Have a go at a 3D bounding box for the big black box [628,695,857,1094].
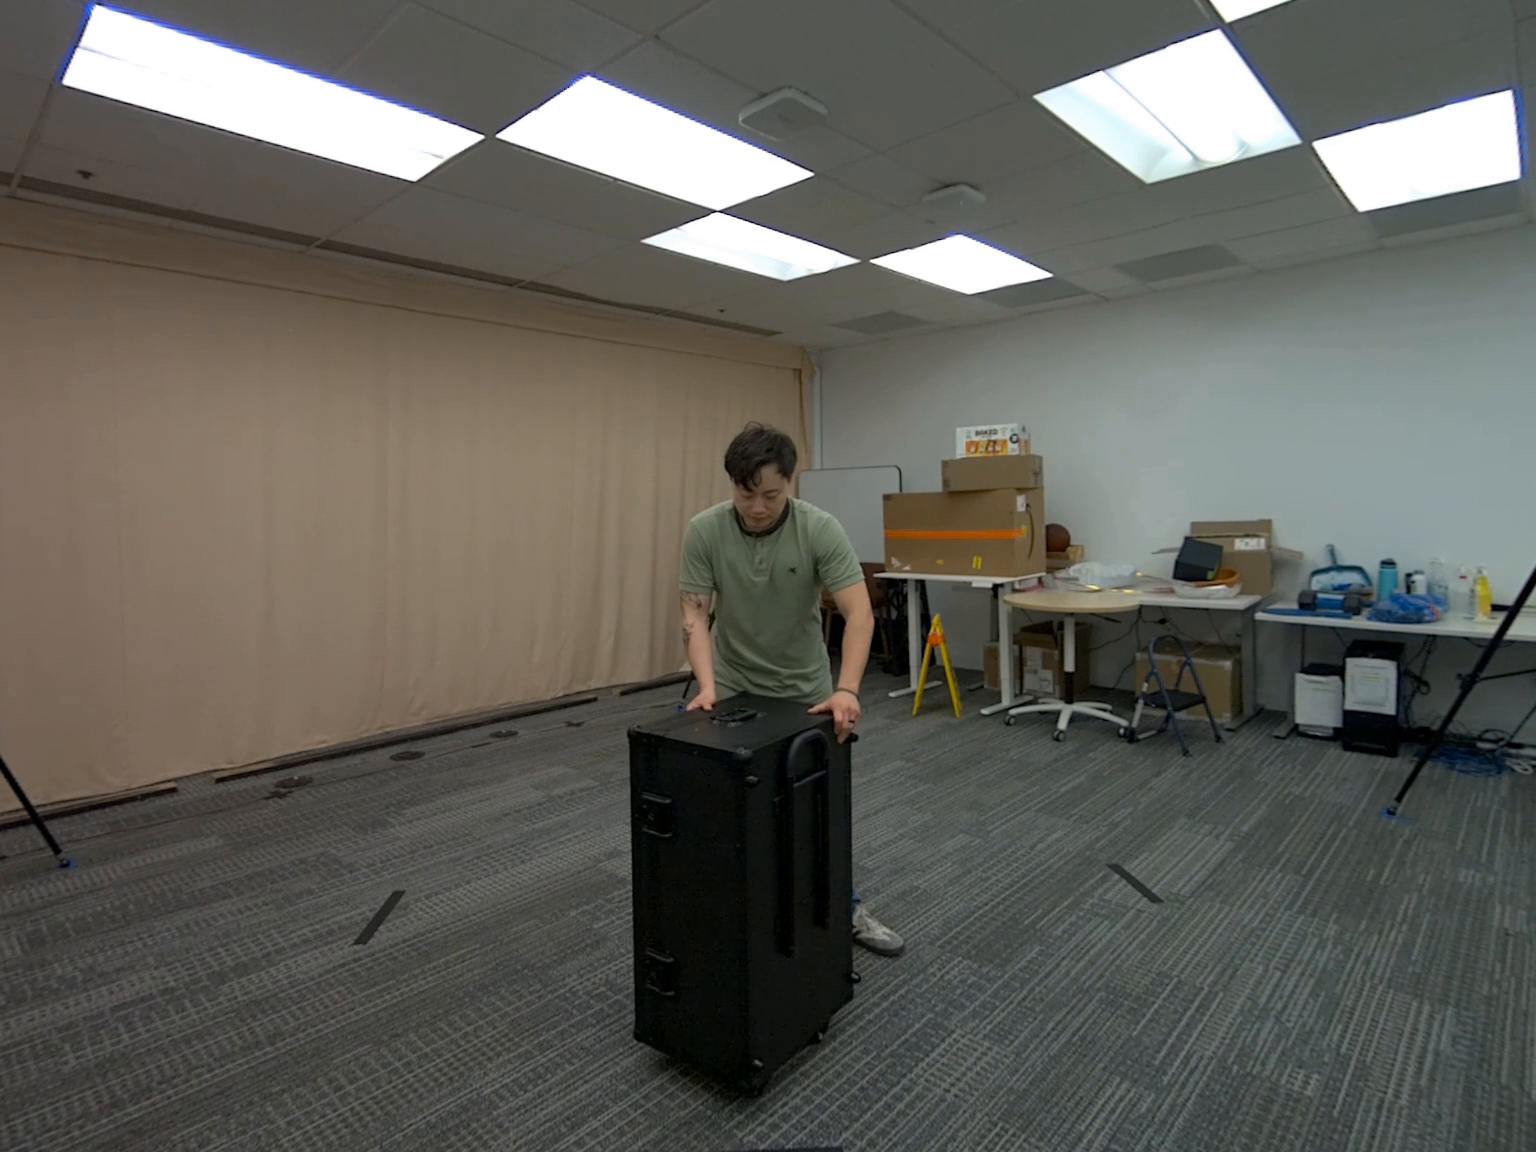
[{"bbox_3d":[-0.051,0.786,2.149,0.409,0.859,0.506,3,4,34],"label":"big black box"}]
